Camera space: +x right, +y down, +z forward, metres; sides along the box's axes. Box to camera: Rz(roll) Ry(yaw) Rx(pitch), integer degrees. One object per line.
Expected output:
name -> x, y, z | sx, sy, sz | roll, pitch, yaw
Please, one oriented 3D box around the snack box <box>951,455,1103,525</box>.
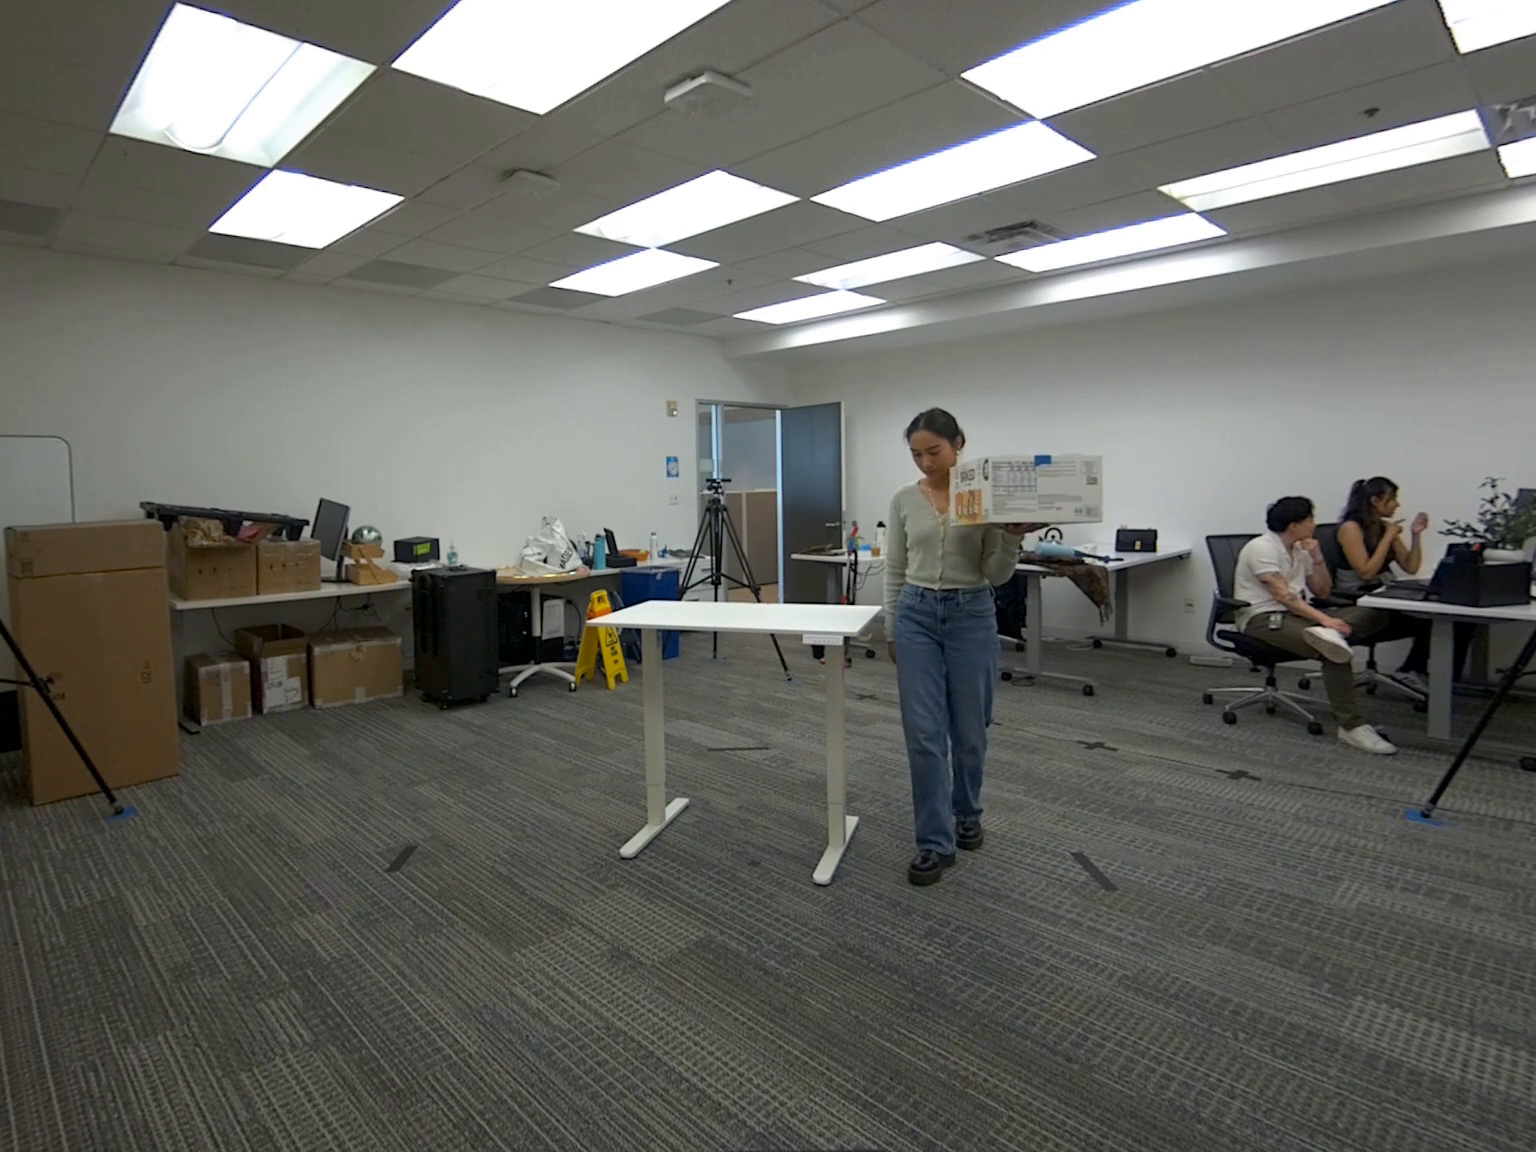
snack box -> 0.811, -0.269, 2.718 | 0.340, 0.206, 0.405 | -1, 1, -2
